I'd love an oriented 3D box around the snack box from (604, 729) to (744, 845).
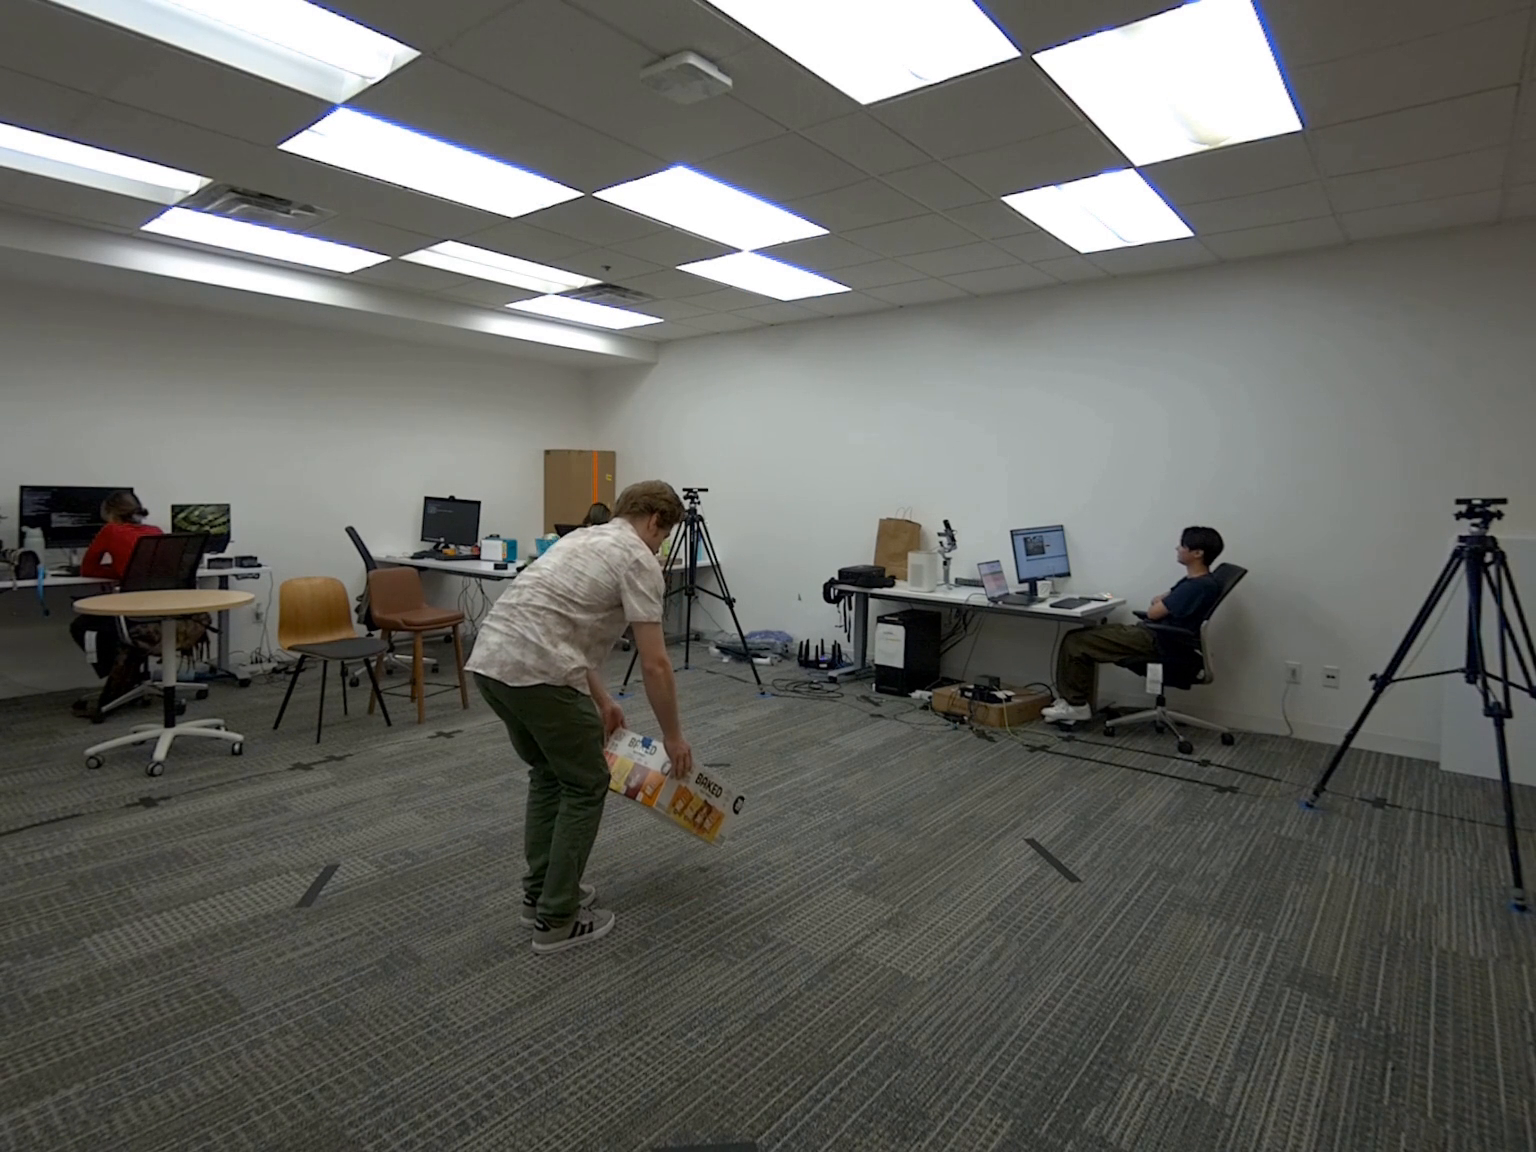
[{"bbox_3d":[-0.356,0.732,2.964,0.352,0.207,0.388,8,-28,43],"label":"snack box"}]
